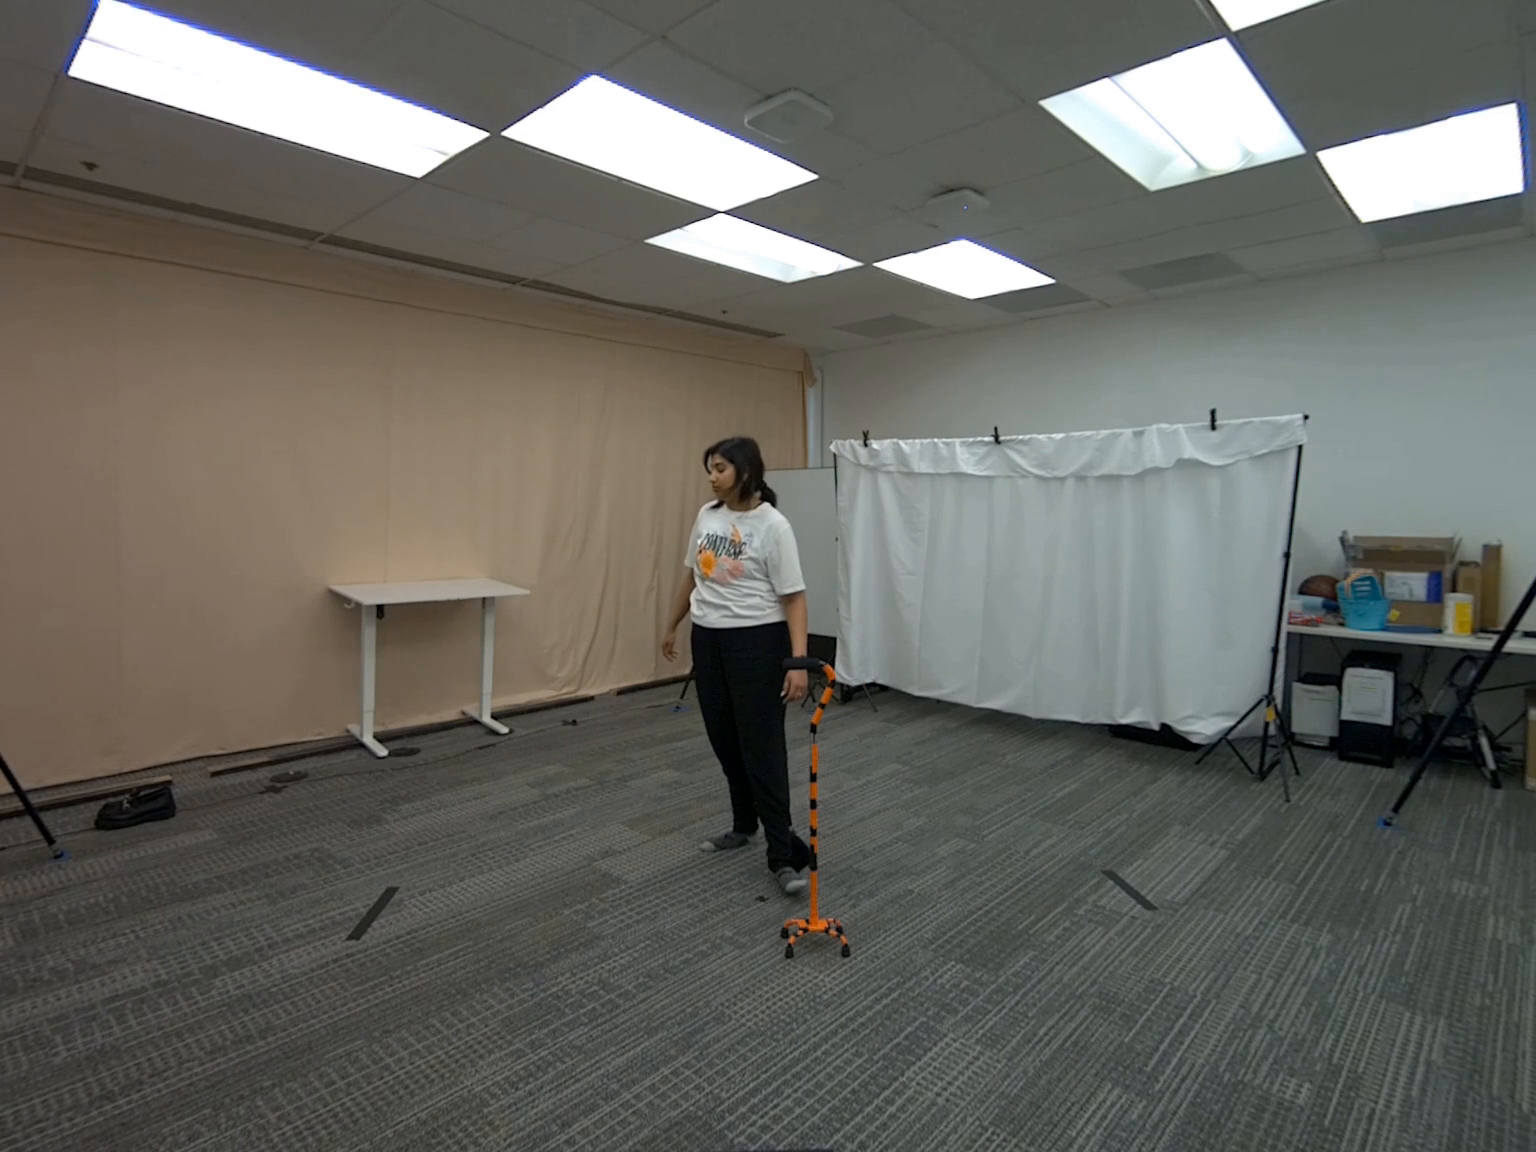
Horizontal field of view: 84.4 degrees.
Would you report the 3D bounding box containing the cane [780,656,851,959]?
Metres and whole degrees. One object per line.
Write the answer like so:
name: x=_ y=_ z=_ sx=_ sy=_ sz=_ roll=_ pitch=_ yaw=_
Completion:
cane: x=0.150 y=0.723 z=2.640 sx=0.206 sy=0.906 sz=0.152 roll=-1 pitch=3 yaw=-4
